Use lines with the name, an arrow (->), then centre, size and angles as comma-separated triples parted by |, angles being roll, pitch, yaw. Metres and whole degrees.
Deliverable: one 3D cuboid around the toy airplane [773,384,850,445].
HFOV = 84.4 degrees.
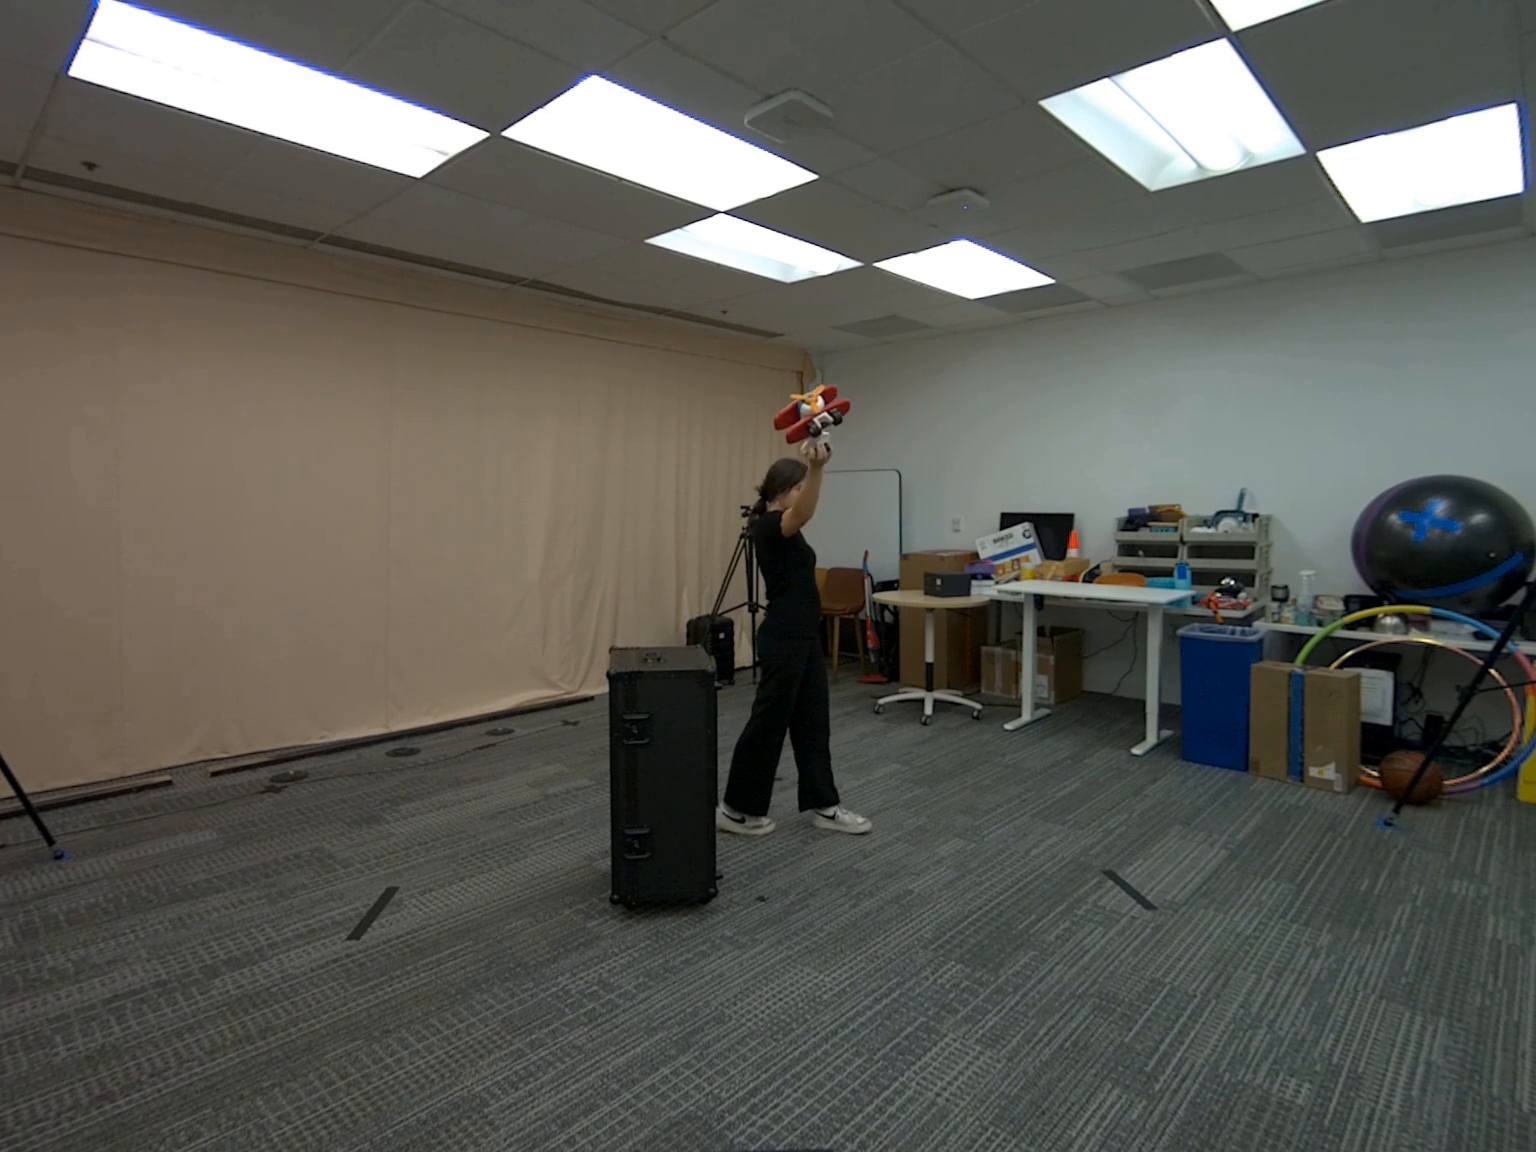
toy airplane -> 0.147, -0.513, 2.876 | 0.245, 0.159, 0.260 | -20, -20, -36
